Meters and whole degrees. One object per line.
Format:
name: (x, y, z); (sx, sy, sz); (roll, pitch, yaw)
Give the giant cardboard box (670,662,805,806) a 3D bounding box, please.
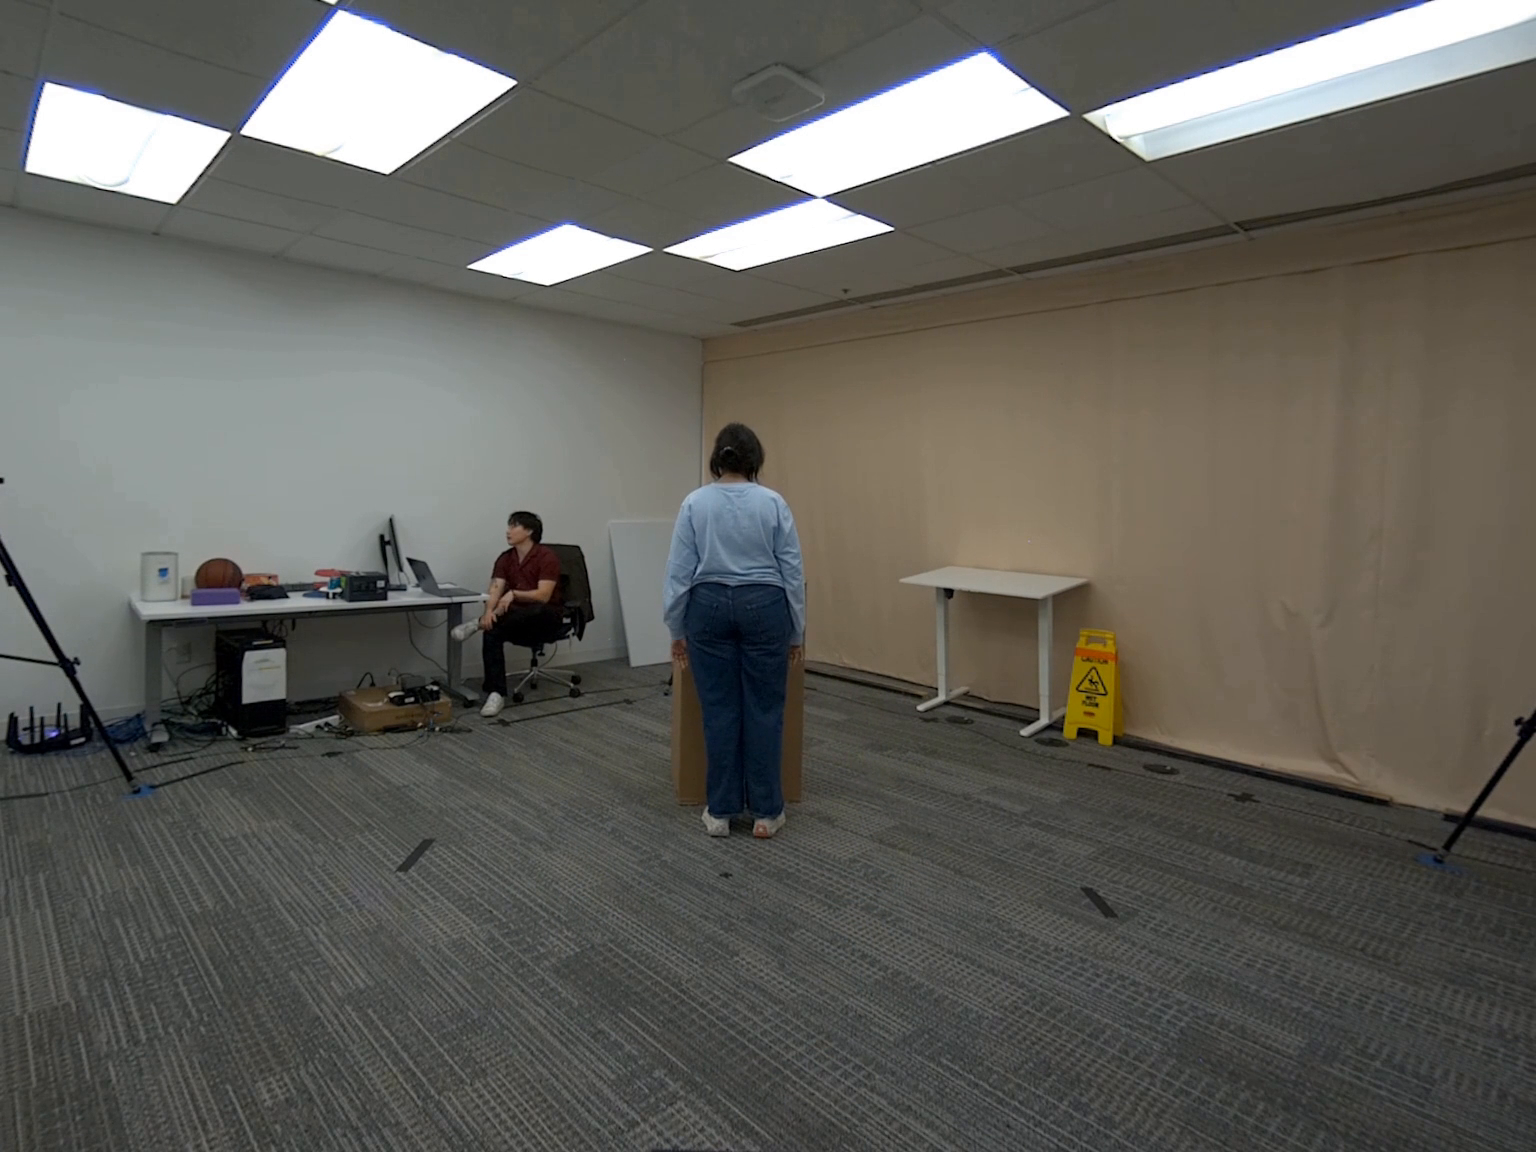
giant cardboard box: (-0.157, 0.514, 4.035); (0.573, 1.023, 0.430); (1, 3, -10)
